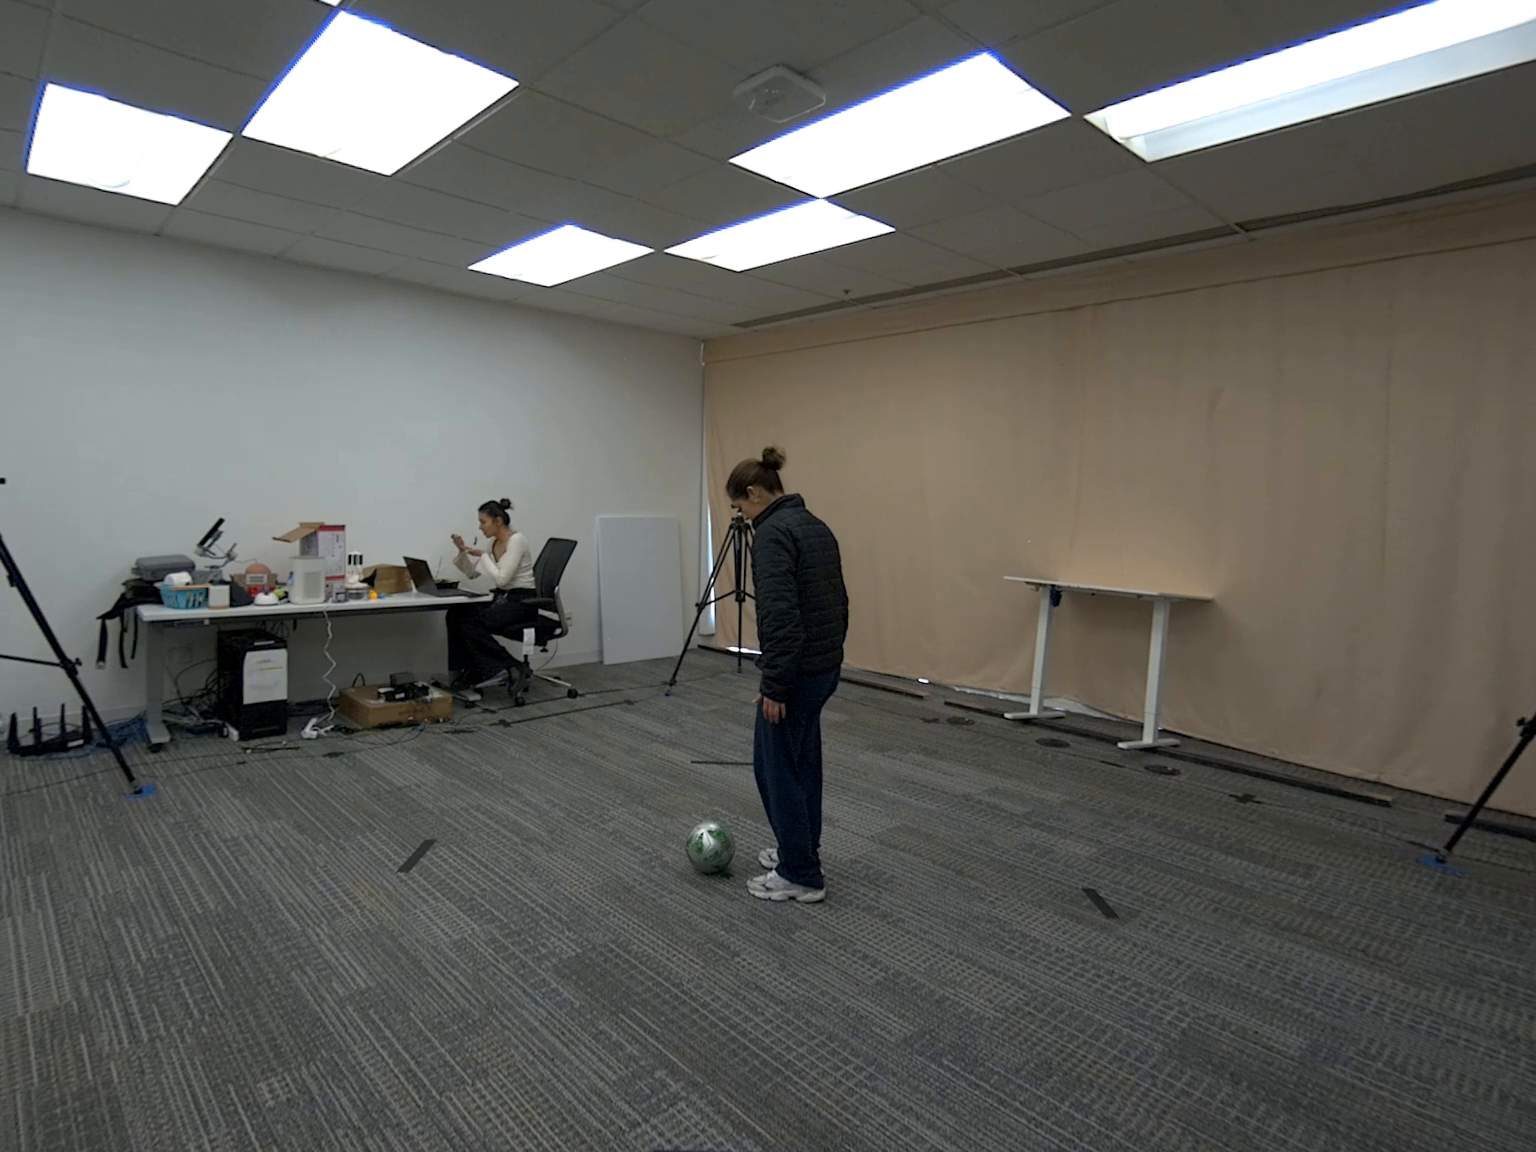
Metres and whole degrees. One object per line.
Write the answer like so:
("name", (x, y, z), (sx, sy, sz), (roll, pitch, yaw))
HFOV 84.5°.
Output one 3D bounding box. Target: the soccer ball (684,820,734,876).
("soccer ball", (-0.216, 0.997, 3.141), (0.187, 0.187, 0.188), (1, 4, -1))
